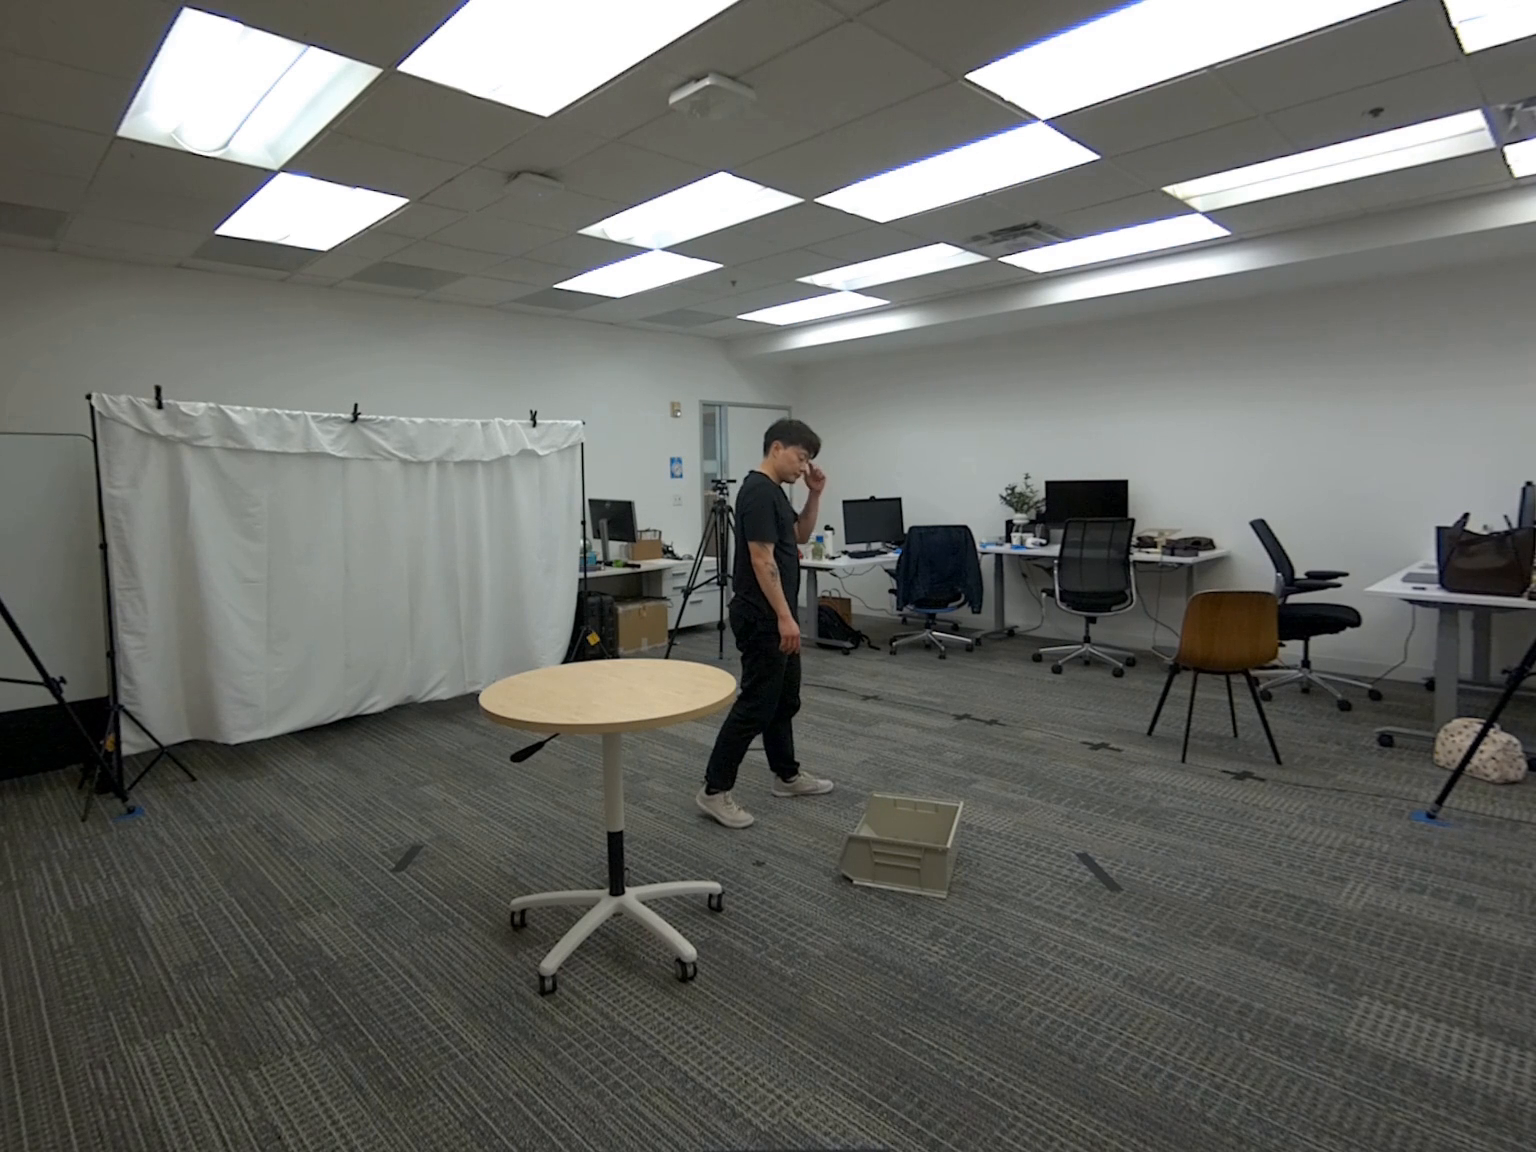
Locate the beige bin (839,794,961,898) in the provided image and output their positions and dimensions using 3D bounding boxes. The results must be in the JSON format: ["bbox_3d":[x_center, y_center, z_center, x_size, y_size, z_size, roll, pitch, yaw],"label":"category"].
[{"bbox_3d":[0.491,0.953,3.070,0.385,0.188,0.416,2,6,19],"label":"beige bin"}]
